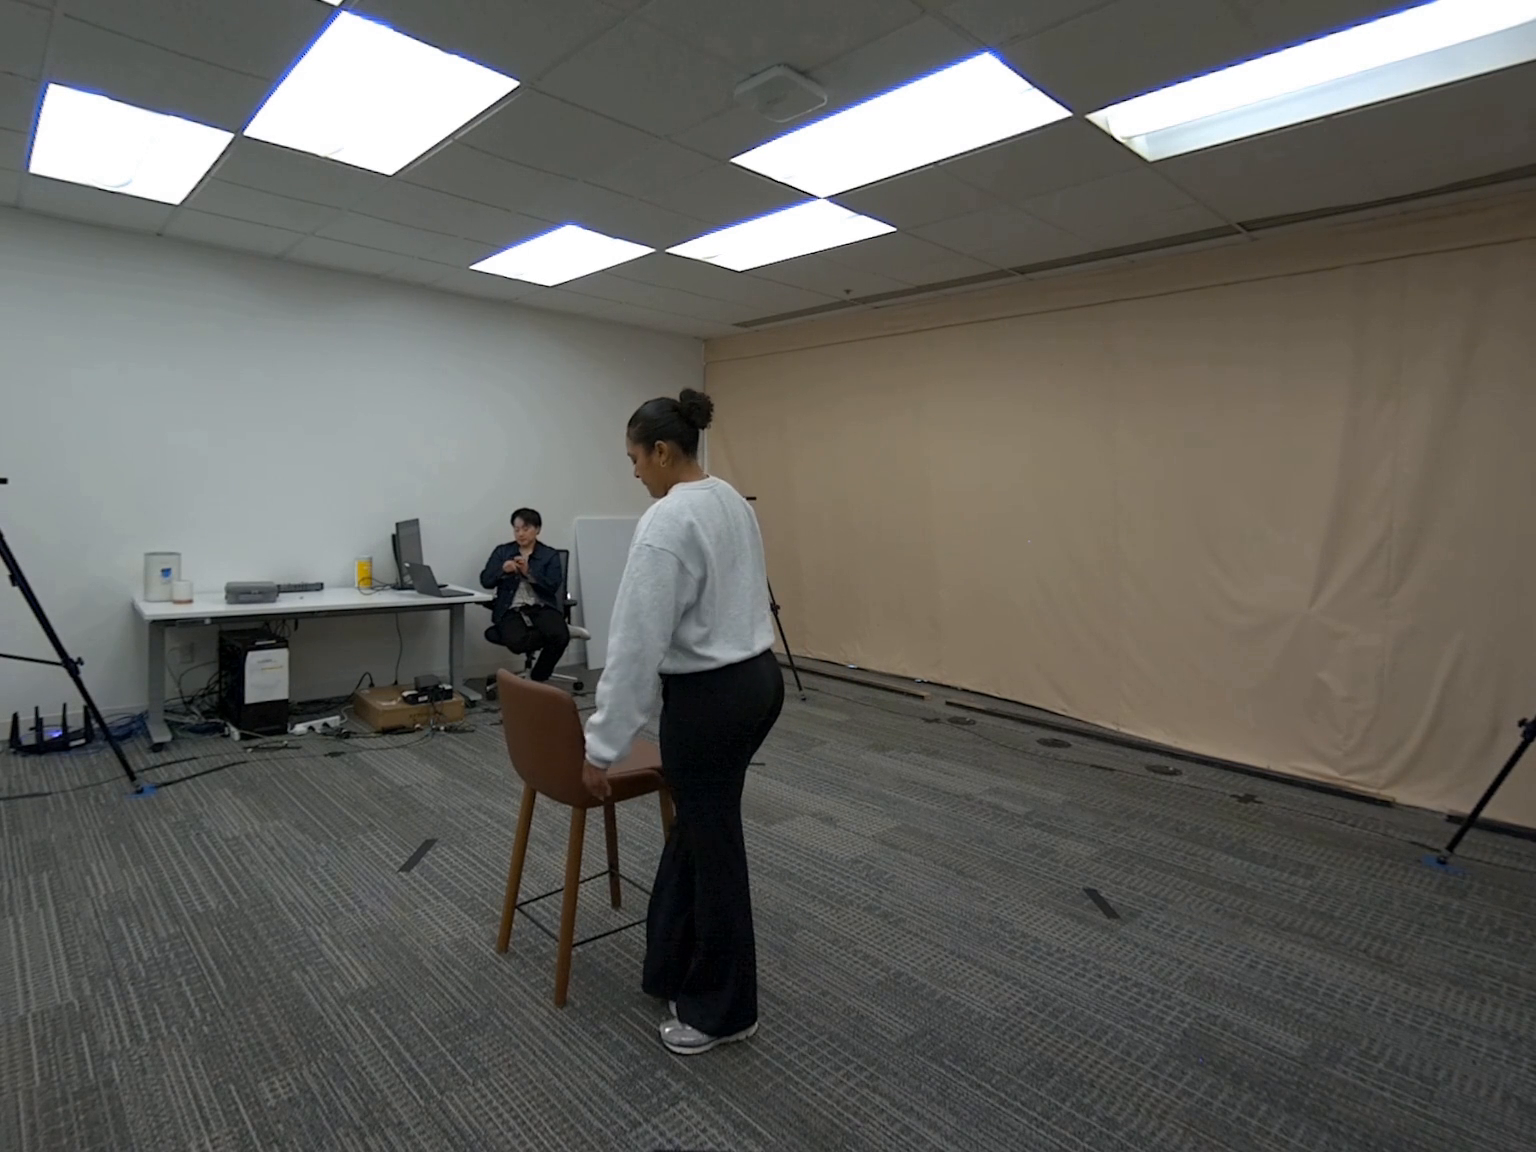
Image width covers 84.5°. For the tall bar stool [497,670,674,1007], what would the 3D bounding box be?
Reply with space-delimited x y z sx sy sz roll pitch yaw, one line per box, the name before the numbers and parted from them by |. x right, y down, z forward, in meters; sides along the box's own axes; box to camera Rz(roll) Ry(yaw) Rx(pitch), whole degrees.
tall bar stool | -0.541 0.714 2.542 0.457 0.887 0.468 -5 6 -42
